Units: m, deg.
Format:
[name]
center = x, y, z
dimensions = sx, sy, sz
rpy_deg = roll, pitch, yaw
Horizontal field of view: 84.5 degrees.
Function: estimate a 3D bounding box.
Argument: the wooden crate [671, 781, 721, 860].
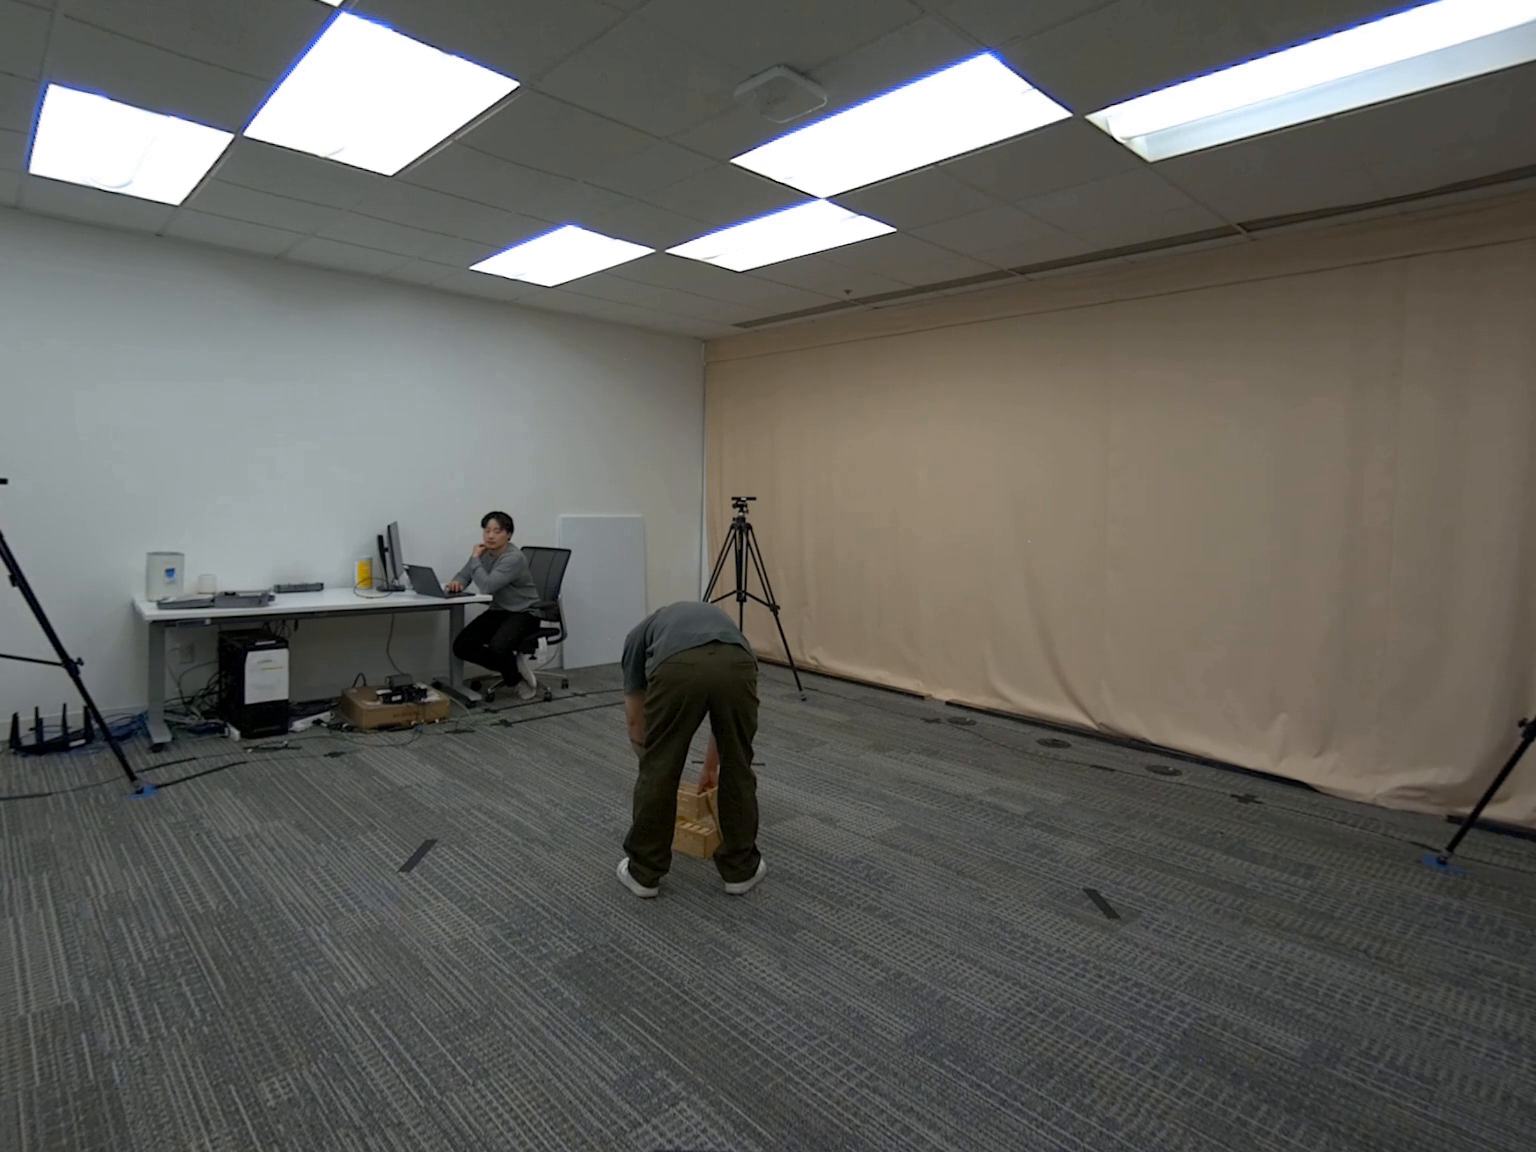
[wooden crate]
center = -0.322, 0.946, 3.402
dimensions = 0.332, 0.272, 0.296
rpy_deg = 4, 6, 33
